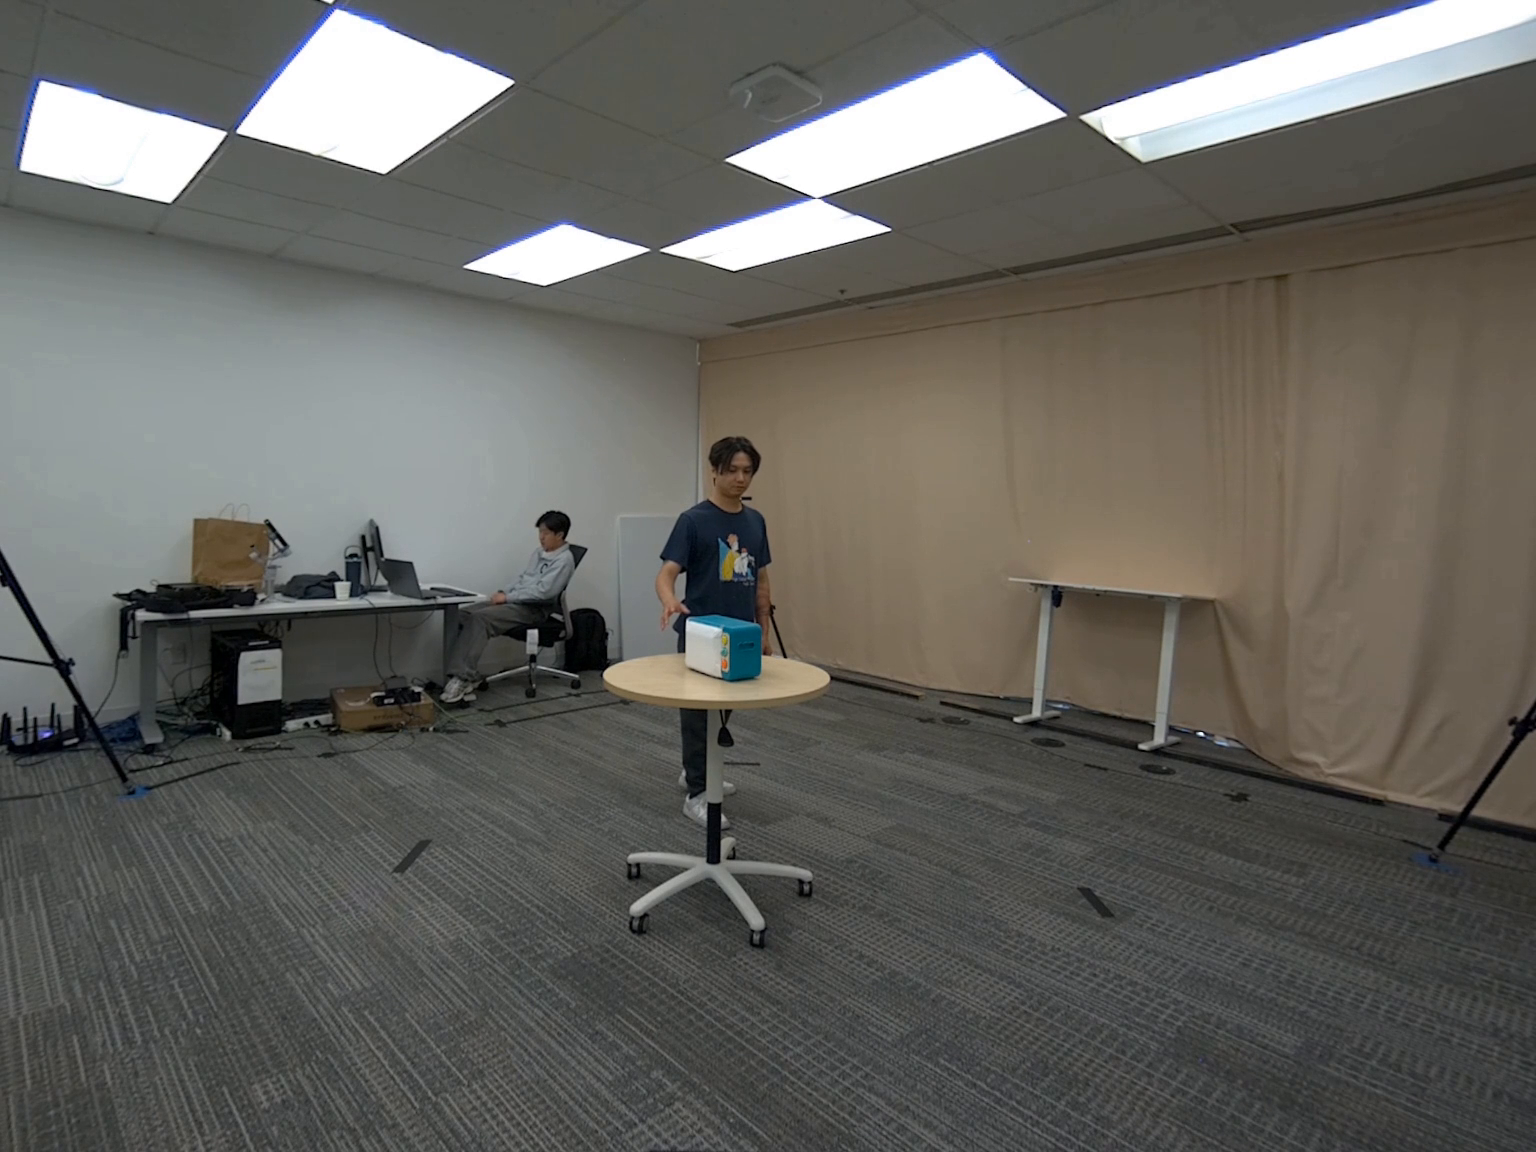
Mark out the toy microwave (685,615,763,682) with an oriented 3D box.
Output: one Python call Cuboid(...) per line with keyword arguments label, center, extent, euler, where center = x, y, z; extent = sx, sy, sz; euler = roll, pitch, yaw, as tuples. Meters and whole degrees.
Cuboid(label="toy microwave", center=(-0.166, 0.242, 2.844), extent=(0.149, 0.183, 0.293), euler=(-2, 6, -35))
